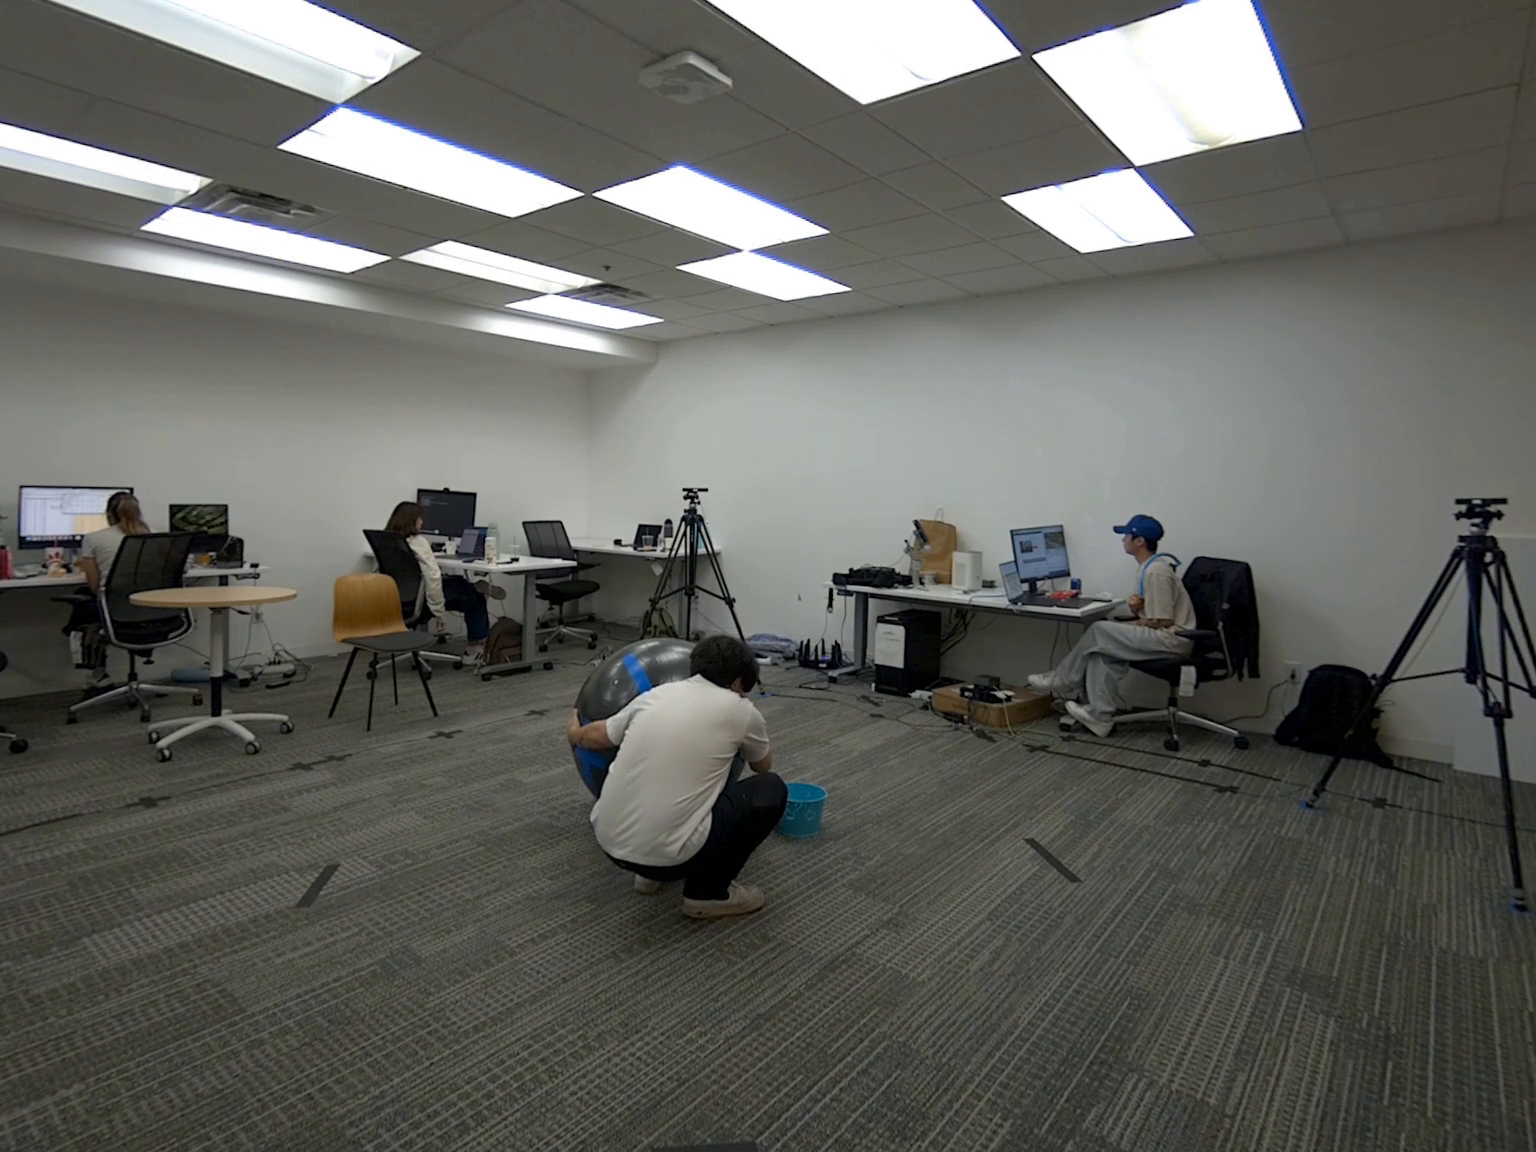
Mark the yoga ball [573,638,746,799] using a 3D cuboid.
[{"bbox_3d":[-0.460,0.642,3.574,0.757,0.755,0.762,1,4,-2],"label":"yoga ball"}]
